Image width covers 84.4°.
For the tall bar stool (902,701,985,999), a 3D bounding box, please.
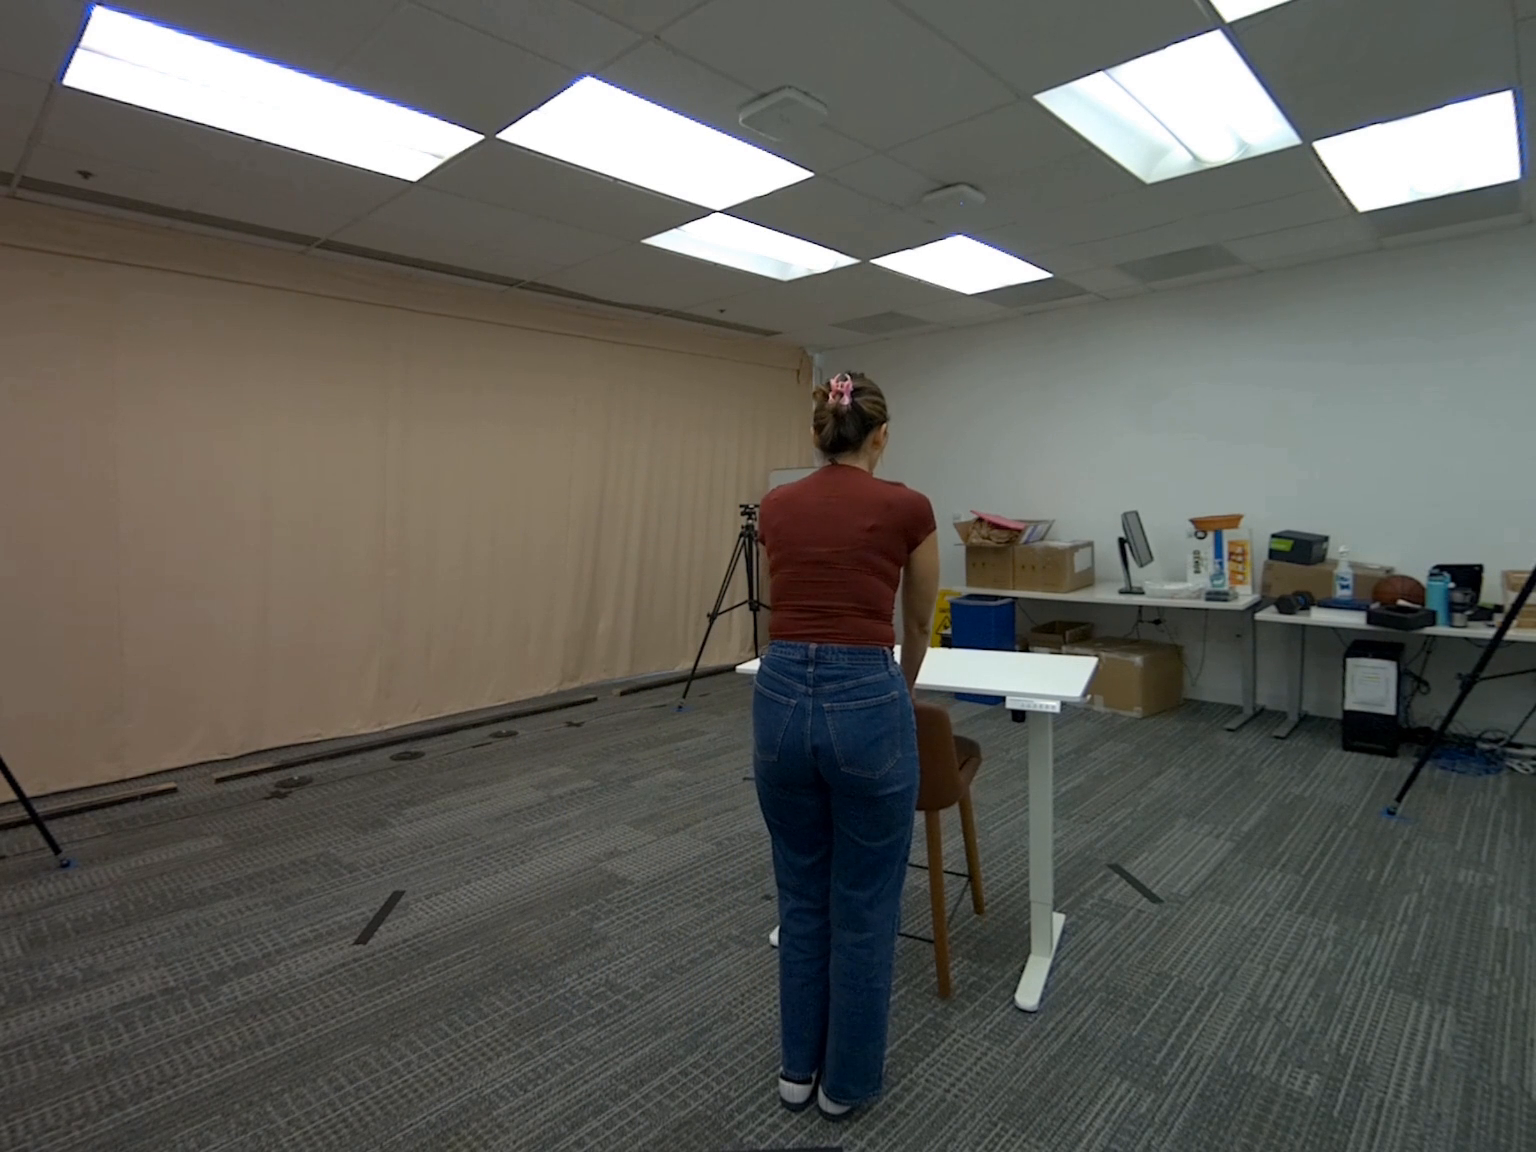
[{"bbox_3d":[0.406,0.714,2.551,0.469,0.882,0.459,1,13,27],"label":"tall bar stool"}]
